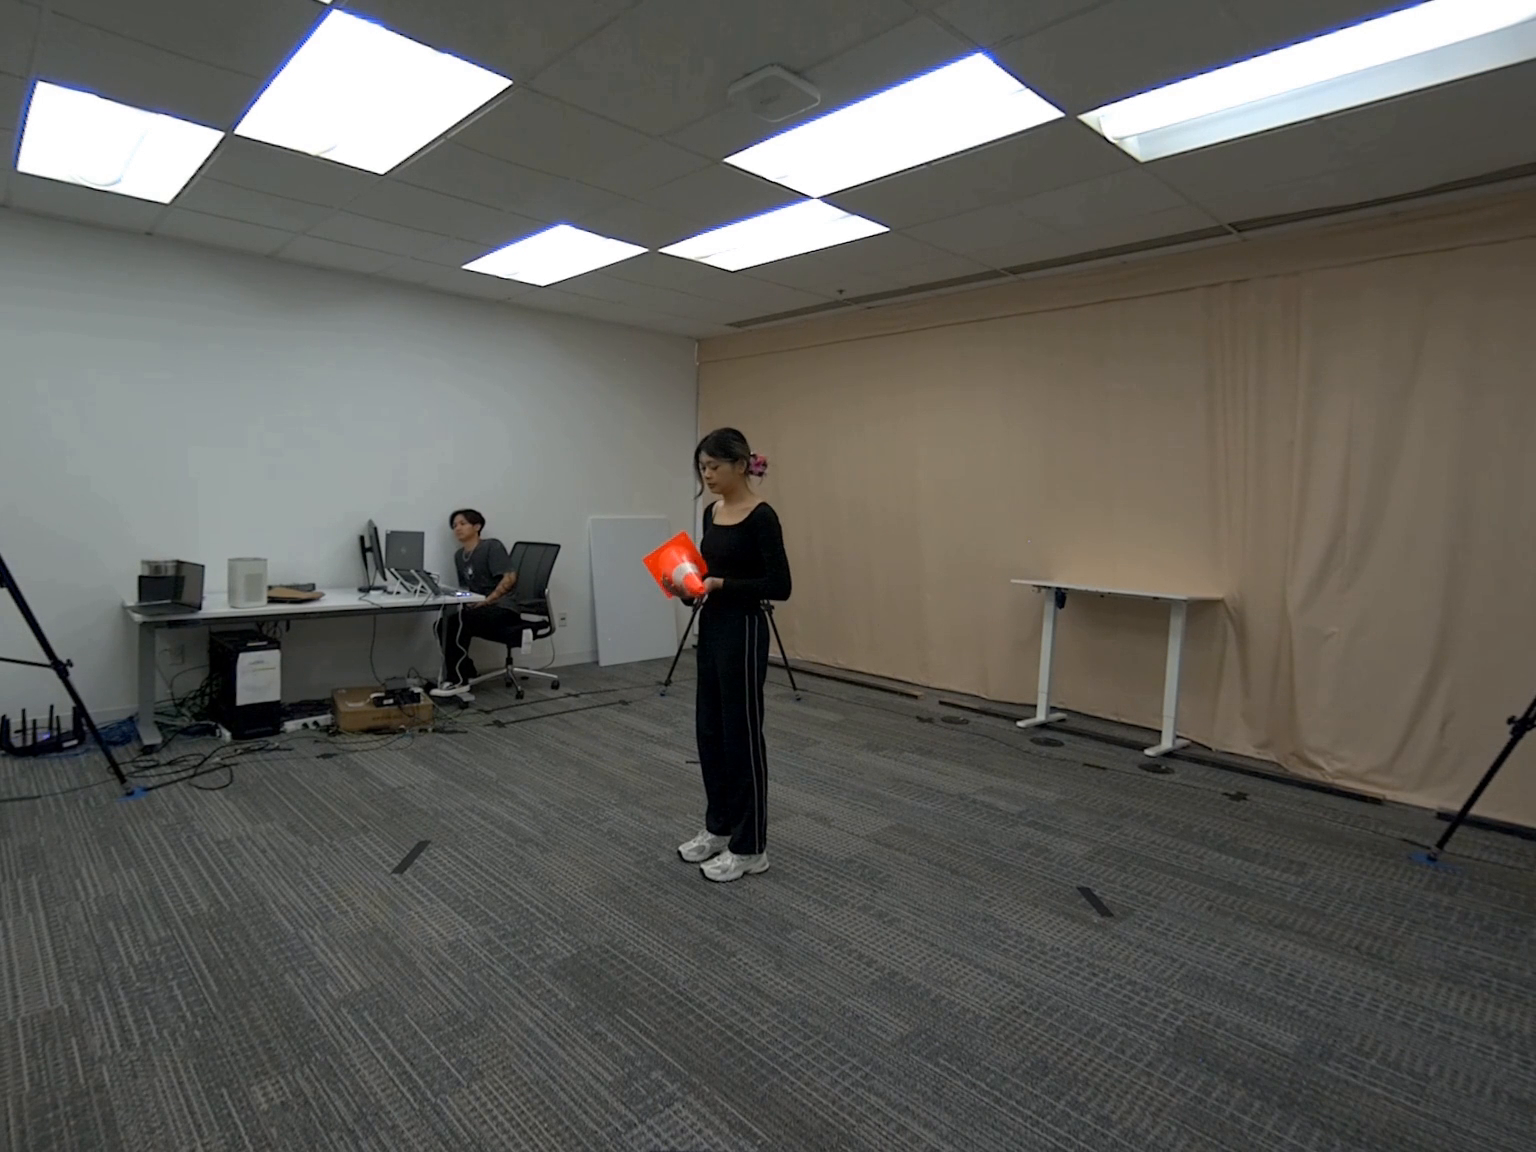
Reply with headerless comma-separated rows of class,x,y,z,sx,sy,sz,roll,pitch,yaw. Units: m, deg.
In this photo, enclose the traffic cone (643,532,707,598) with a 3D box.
traffic cone,-0.319,0.004,3.041,0.205,0.200,0.390,-33,18,-2
